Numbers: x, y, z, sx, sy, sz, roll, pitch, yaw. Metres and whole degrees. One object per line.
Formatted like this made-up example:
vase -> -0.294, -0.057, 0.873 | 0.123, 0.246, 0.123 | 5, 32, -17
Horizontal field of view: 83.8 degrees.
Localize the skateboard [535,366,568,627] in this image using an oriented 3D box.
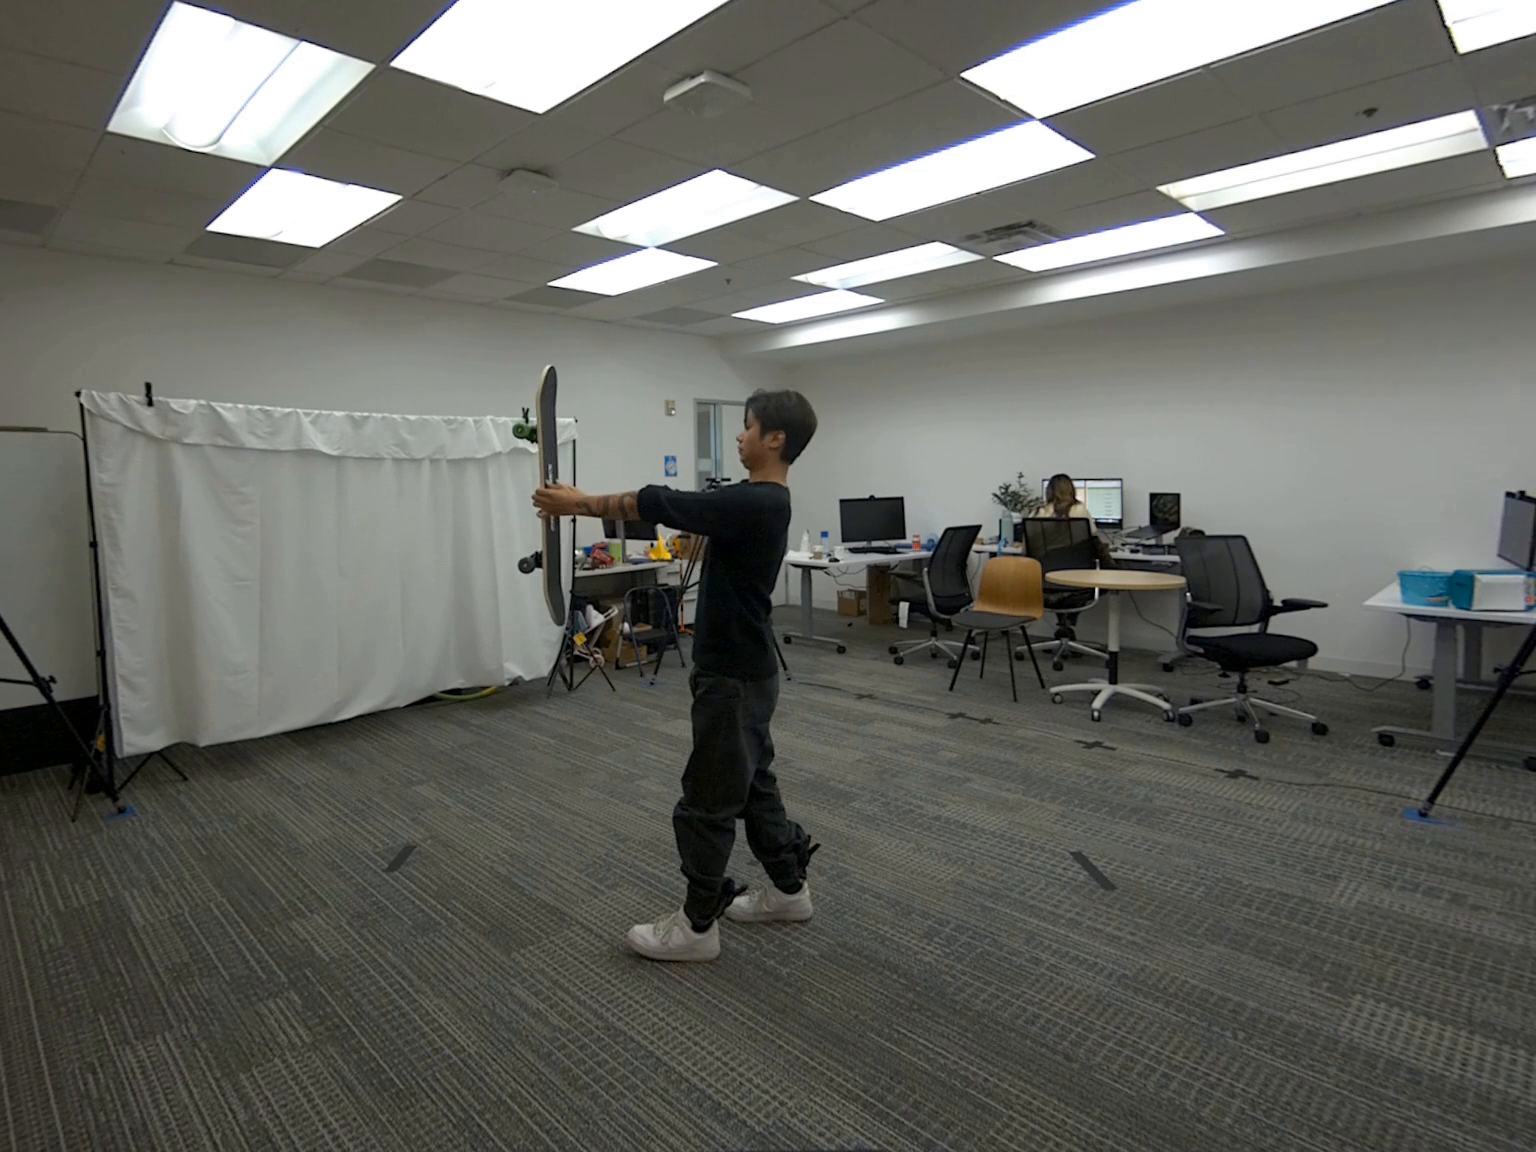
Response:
skateboard -> -0.688, -0.239, 2.588 | 0.110, 0.784, 0.193 | -1, 2, 0
